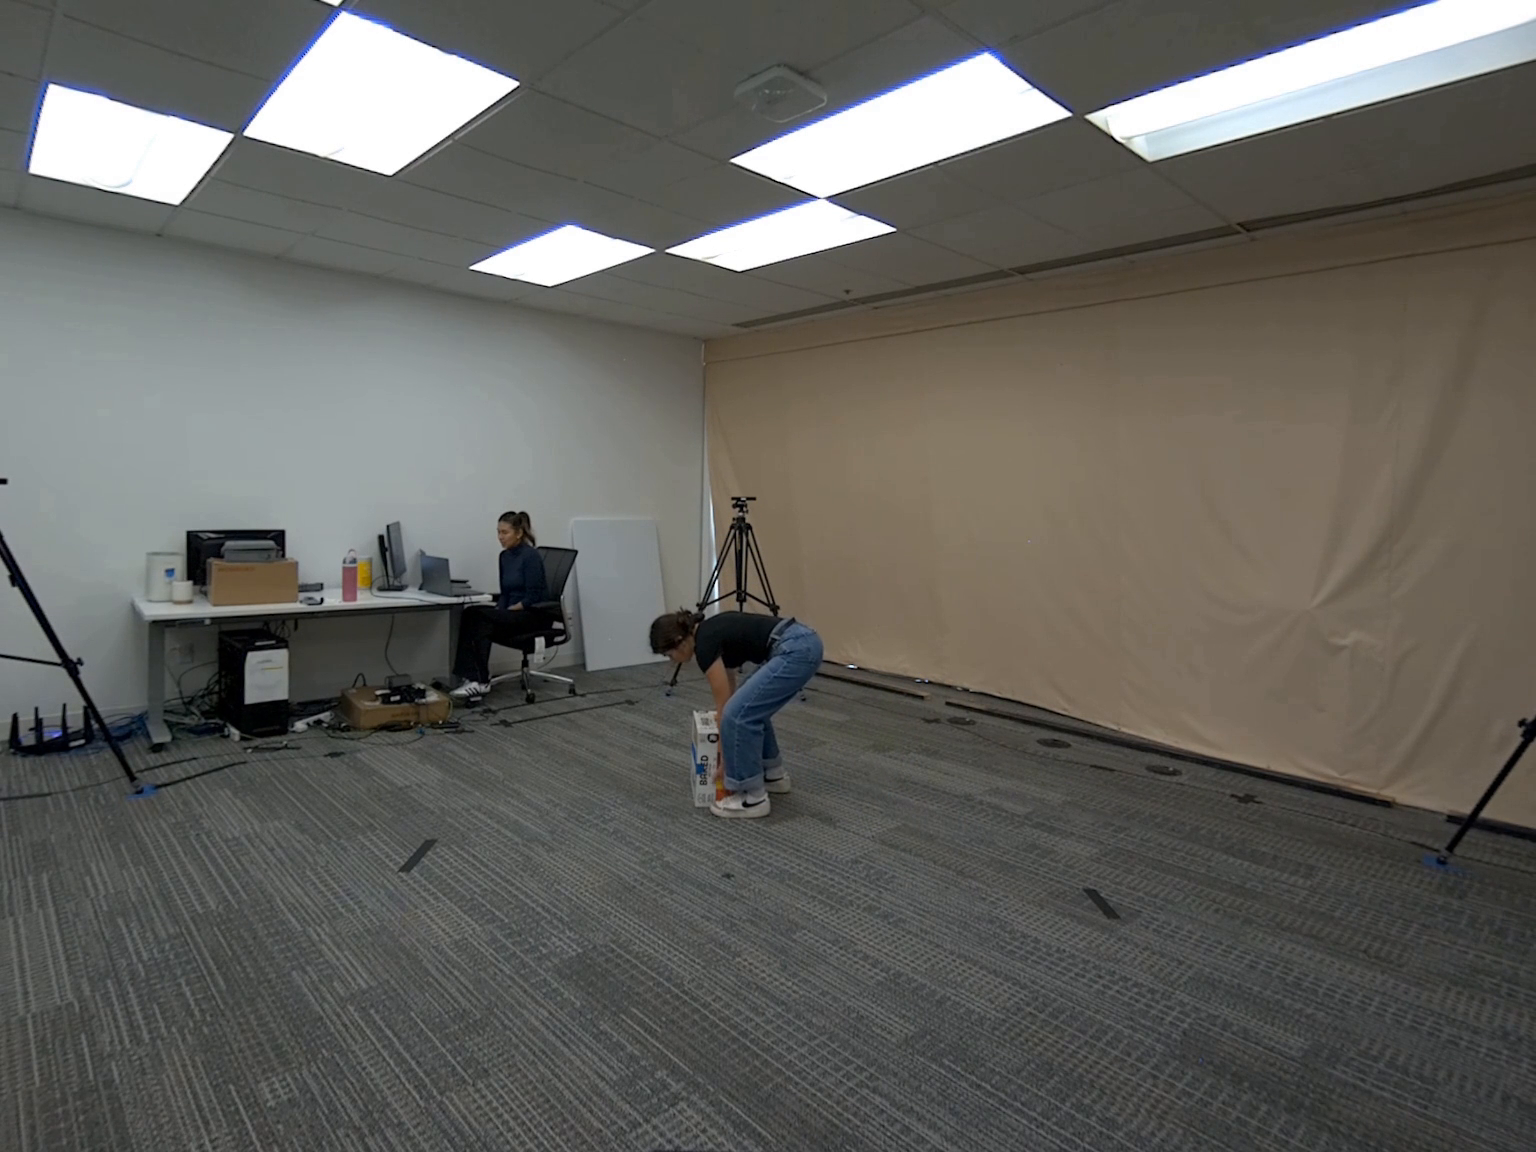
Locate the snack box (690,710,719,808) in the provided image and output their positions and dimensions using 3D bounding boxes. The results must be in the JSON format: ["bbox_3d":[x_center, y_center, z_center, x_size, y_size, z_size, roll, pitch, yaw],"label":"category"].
[{"bbox_3d":[-0.262,0.859,3.991,0.204,0.339,0.408,3,4,-8],"label":"snack box"}]
